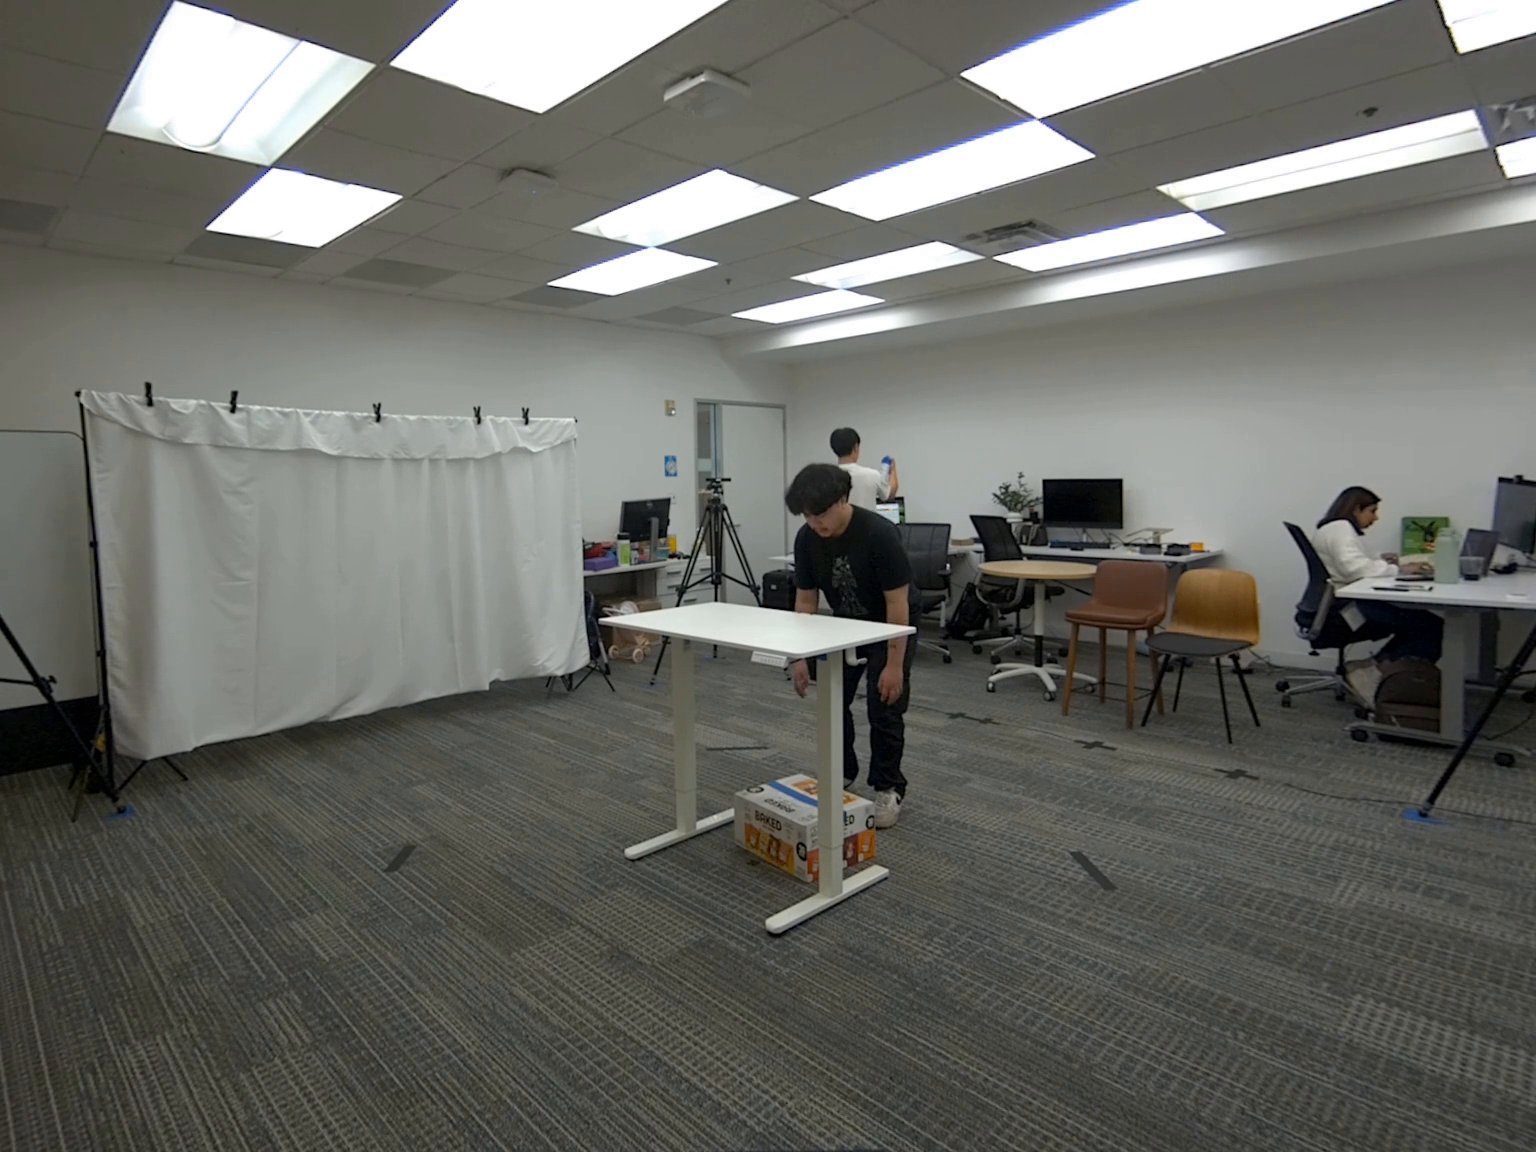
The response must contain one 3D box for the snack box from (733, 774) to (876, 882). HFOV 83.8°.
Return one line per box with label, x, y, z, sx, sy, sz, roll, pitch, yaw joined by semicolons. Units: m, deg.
snack box;0.133;0.930;3.190;0.331;0.205;0.417;-5;7;-38
